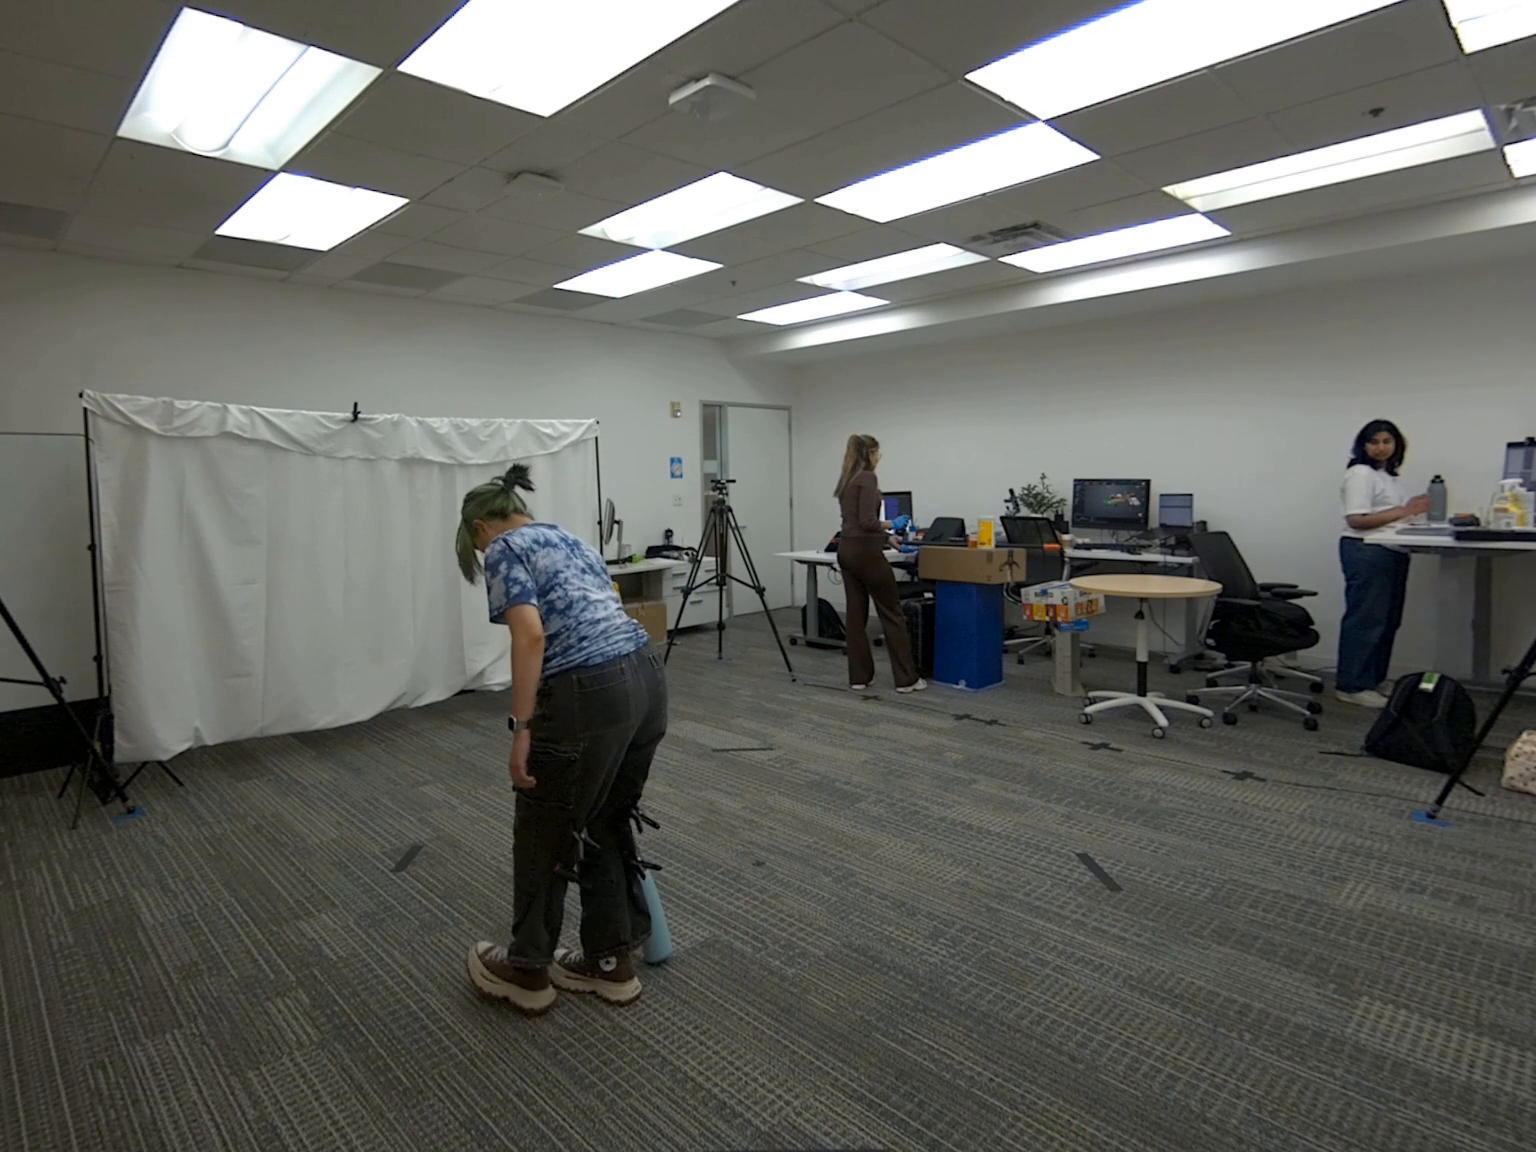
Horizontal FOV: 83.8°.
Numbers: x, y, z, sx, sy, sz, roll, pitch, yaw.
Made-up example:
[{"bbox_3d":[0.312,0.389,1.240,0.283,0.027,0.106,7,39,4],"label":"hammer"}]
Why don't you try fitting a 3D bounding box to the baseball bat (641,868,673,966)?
[{"bbox_3d":[-0.385,0.866,2.528,0.089,0.549,0.088,-16,-9,-4],"label":"baseball bat"}]
